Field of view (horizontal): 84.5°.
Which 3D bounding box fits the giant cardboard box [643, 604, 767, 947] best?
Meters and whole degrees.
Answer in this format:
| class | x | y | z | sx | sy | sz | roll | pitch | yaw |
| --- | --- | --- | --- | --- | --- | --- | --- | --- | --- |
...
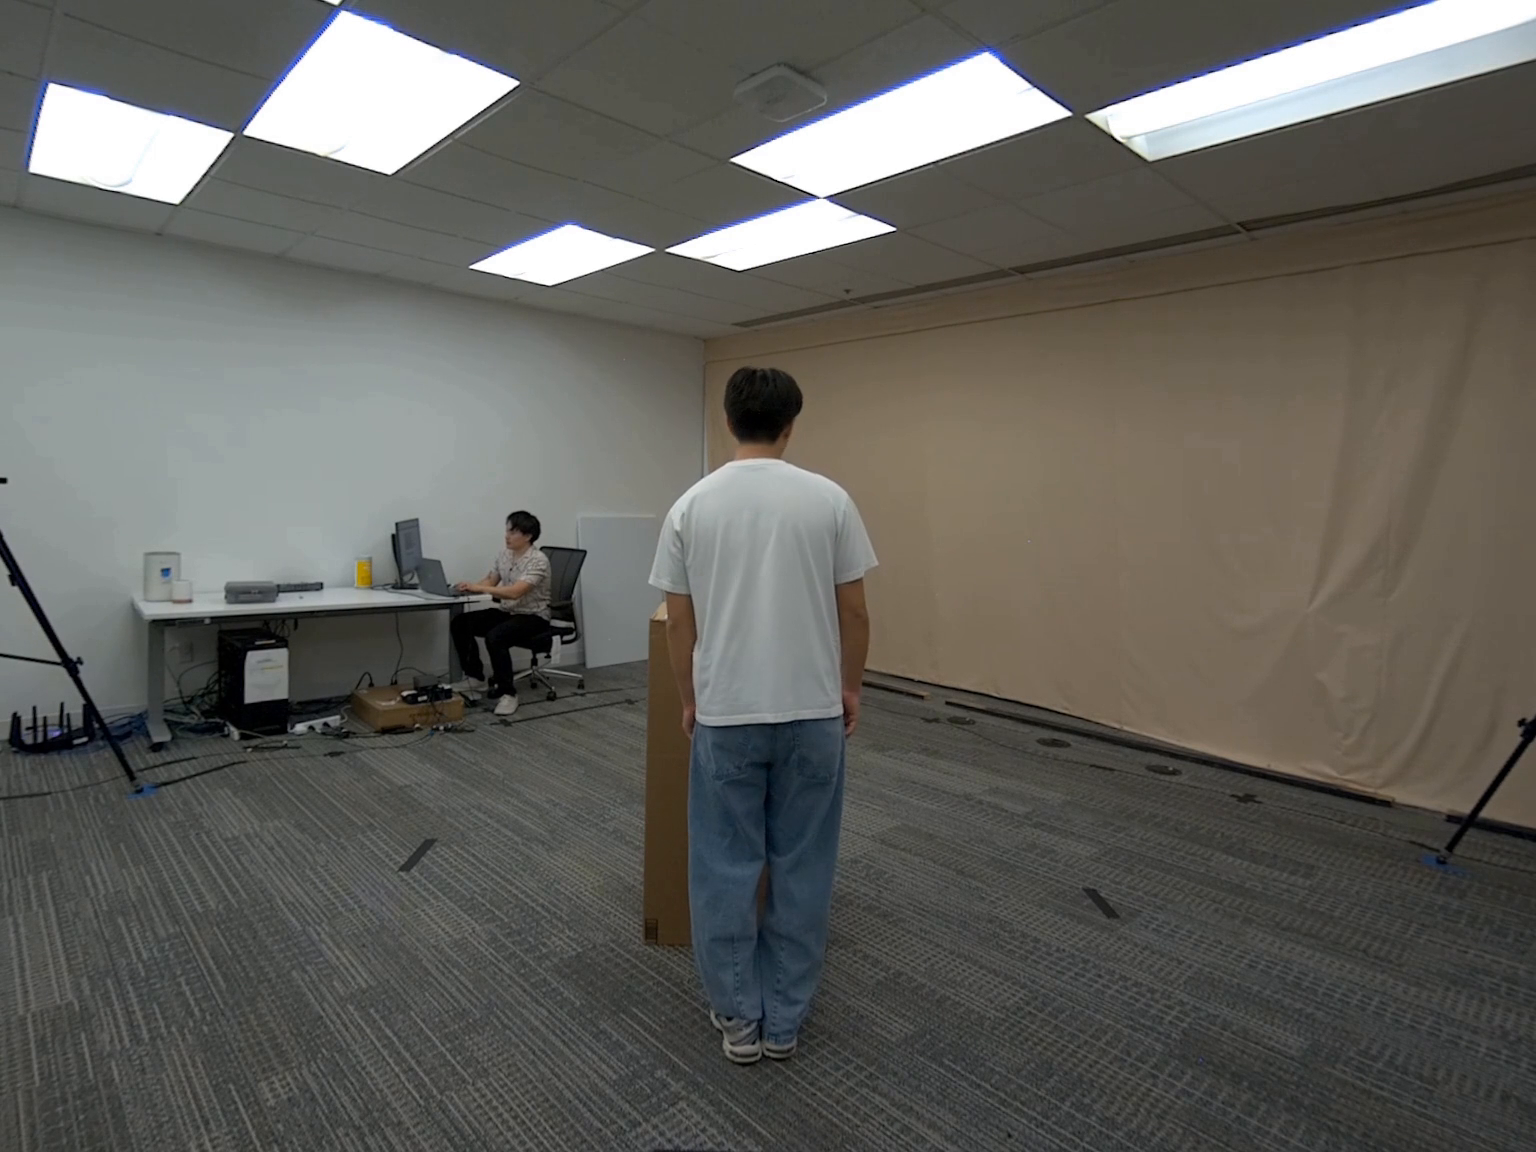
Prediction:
| class | x | y | z | sx | sy | sz | roll | pitch | yaw |
| --- | --- | --- | --- | --- | --- | --- | --- | --- | --- |
| giant cardboard box | -0.099 | 0.630 | 2.782 | 0.578 | 1.023 | 0.427 | 2 | 3 | 0 |
